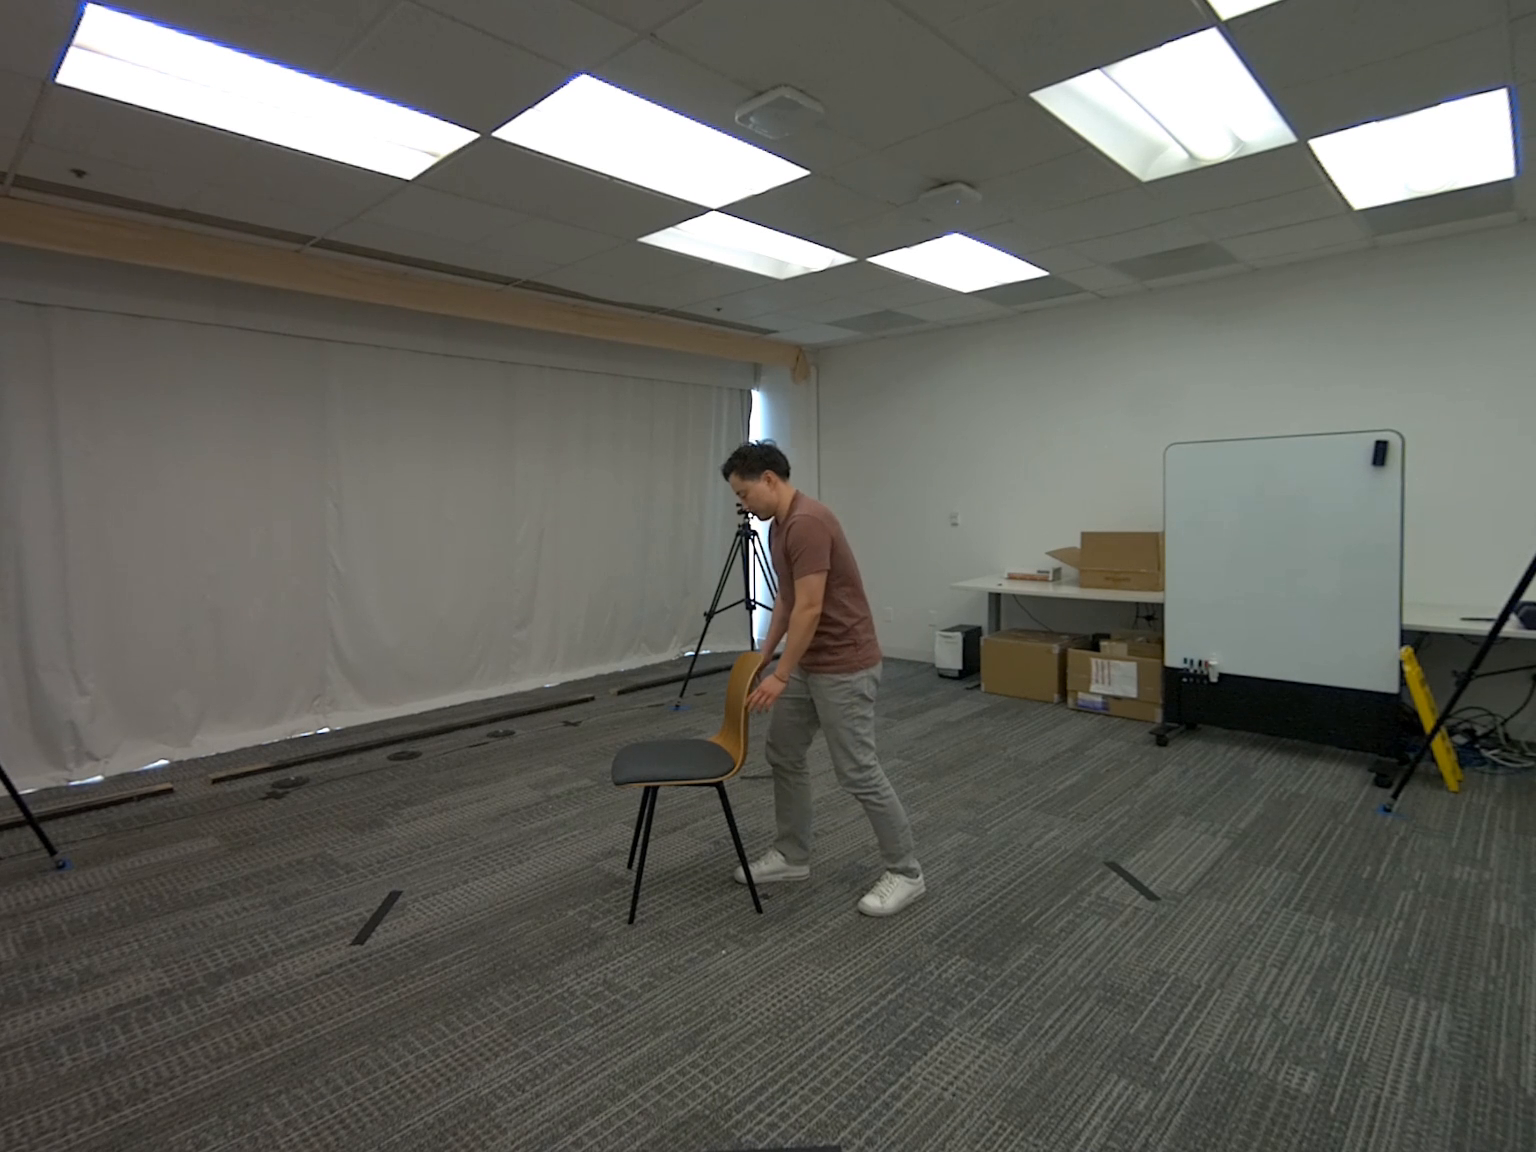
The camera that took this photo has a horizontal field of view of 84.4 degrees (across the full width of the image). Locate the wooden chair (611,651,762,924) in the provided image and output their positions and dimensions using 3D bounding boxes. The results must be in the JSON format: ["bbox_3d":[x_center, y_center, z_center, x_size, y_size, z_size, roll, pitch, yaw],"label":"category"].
[{"bbox_3d":[-0.298,0.712,3.020,0.518,0.875,0.484,3,4,-9],"label":"wooden chair"}]
